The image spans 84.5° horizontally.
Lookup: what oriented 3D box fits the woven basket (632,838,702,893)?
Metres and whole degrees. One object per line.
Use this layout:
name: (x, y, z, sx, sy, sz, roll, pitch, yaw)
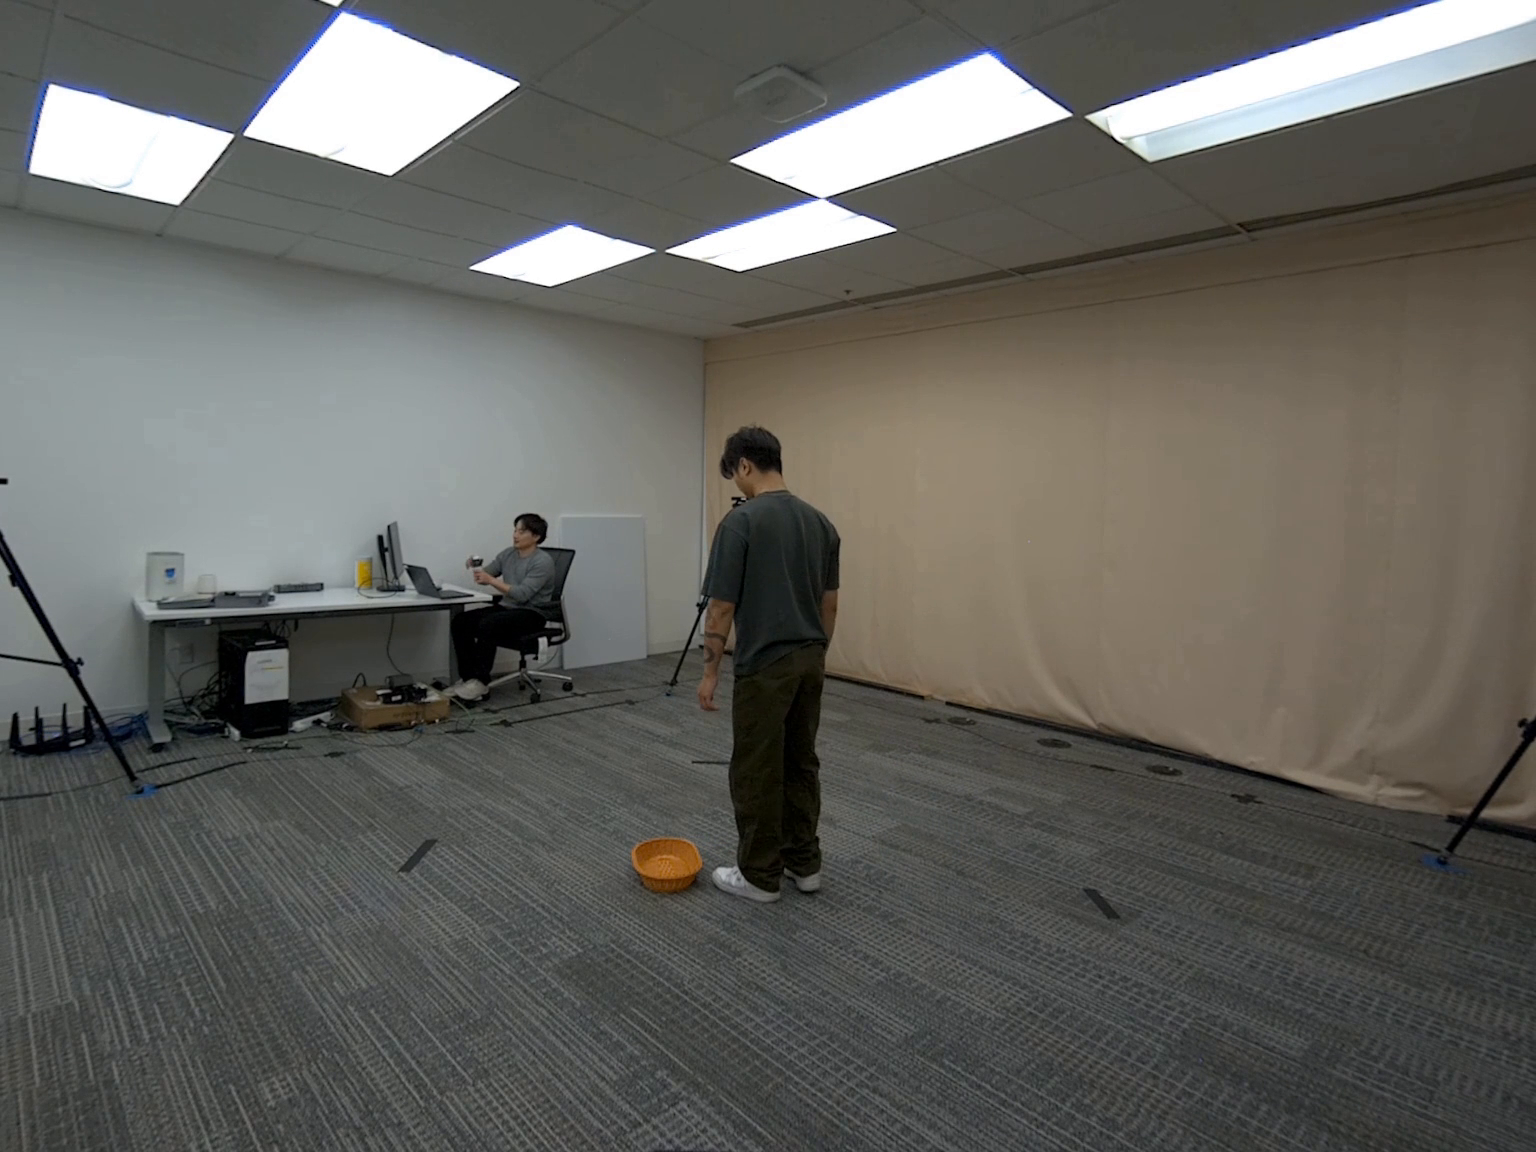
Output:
woven basket: (-0.380, 1.058, 3.099, 0.250, 0.073, 0.355, 0, 6, -13)
